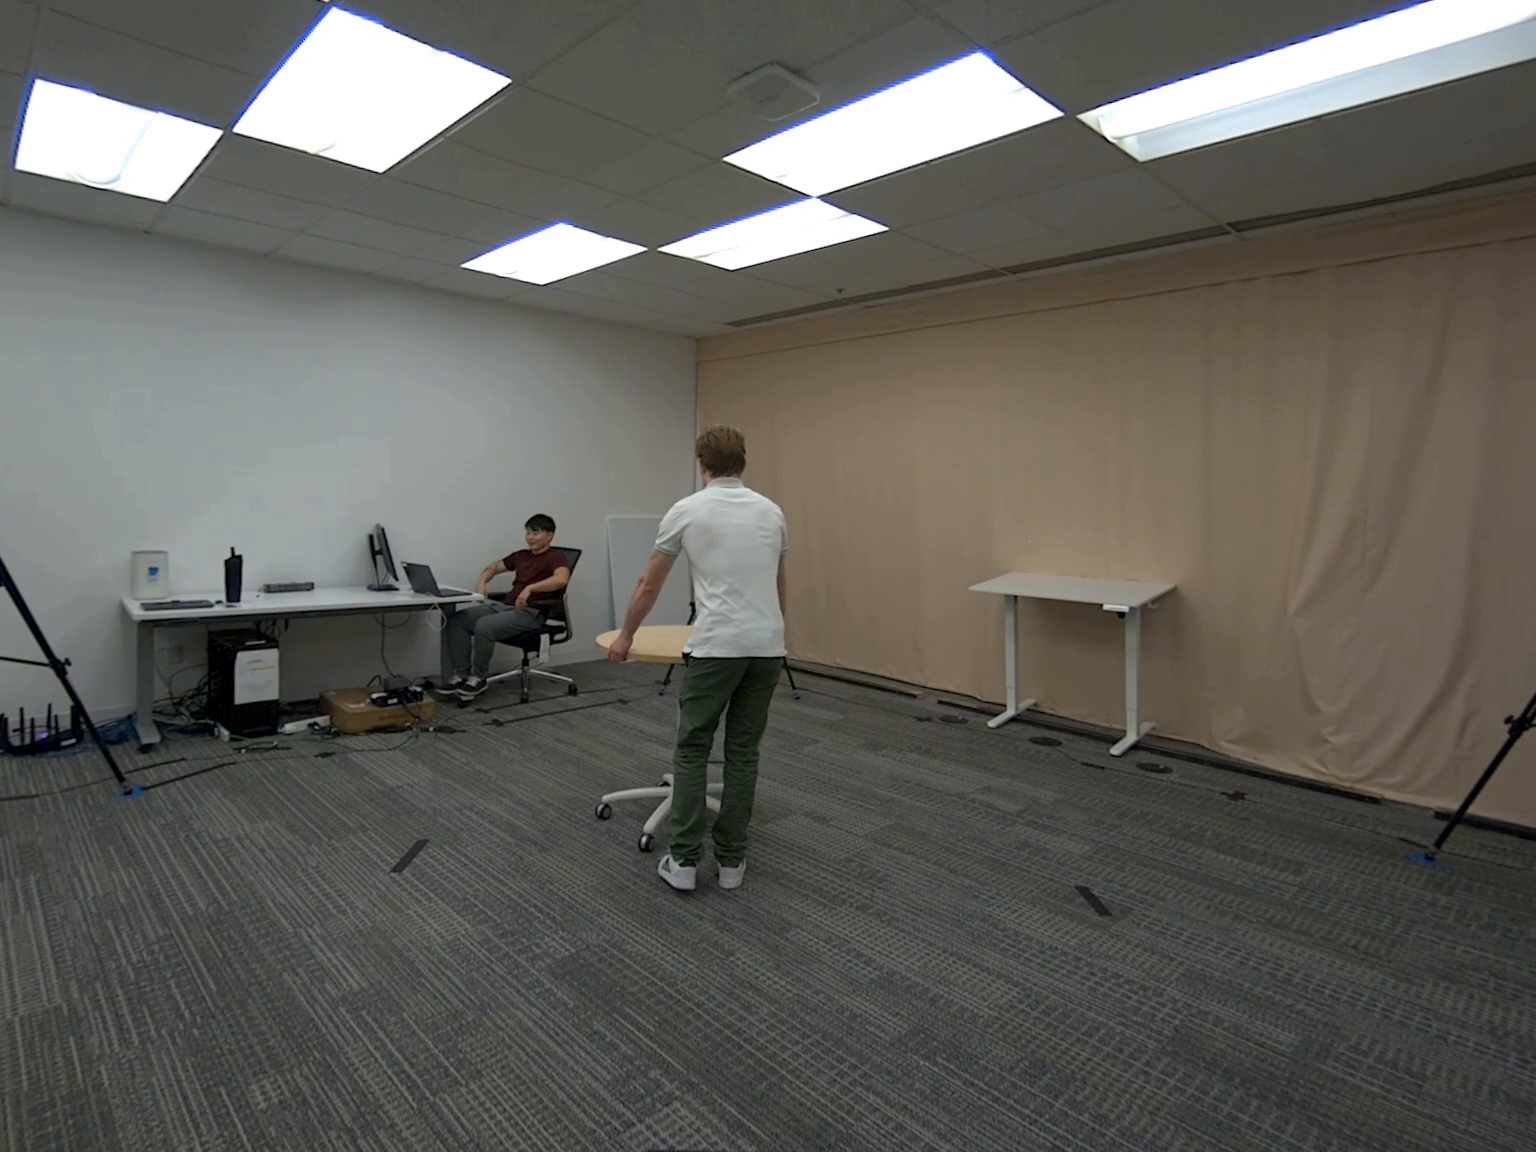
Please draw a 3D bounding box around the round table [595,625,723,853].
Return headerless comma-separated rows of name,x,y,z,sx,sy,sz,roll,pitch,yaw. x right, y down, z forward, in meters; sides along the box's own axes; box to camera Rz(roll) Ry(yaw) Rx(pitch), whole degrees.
round table,-0.367,0.664,3.606,0.763,0.792,0.766,1,4,-1
